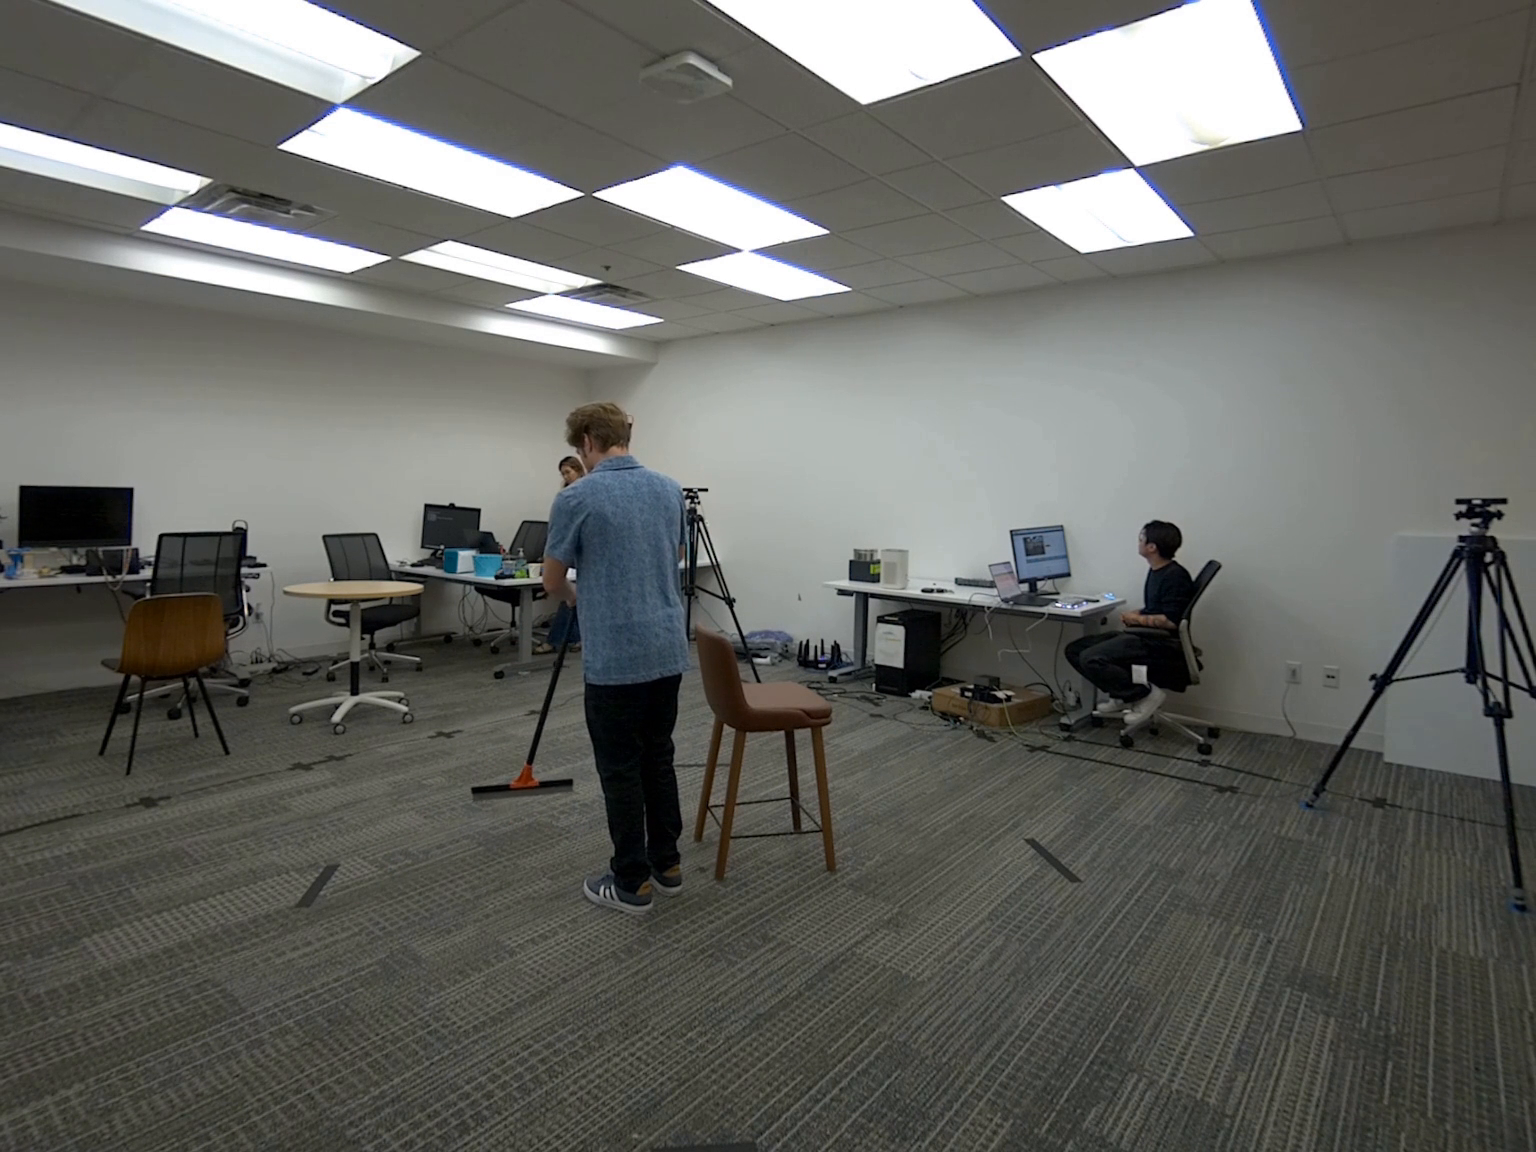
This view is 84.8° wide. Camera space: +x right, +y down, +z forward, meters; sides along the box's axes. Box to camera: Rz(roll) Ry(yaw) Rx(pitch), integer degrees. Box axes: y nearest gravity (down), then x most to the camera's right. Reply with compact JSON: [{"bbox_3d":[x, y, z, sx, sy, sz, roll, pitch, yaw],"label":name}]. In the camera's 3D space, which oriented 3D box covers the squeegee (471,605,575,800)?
[{"bbox_3d":[-0.765,0.155,3.199,0.422,1.527,0.055,8,15,-41],"label":"squeegee"}]
